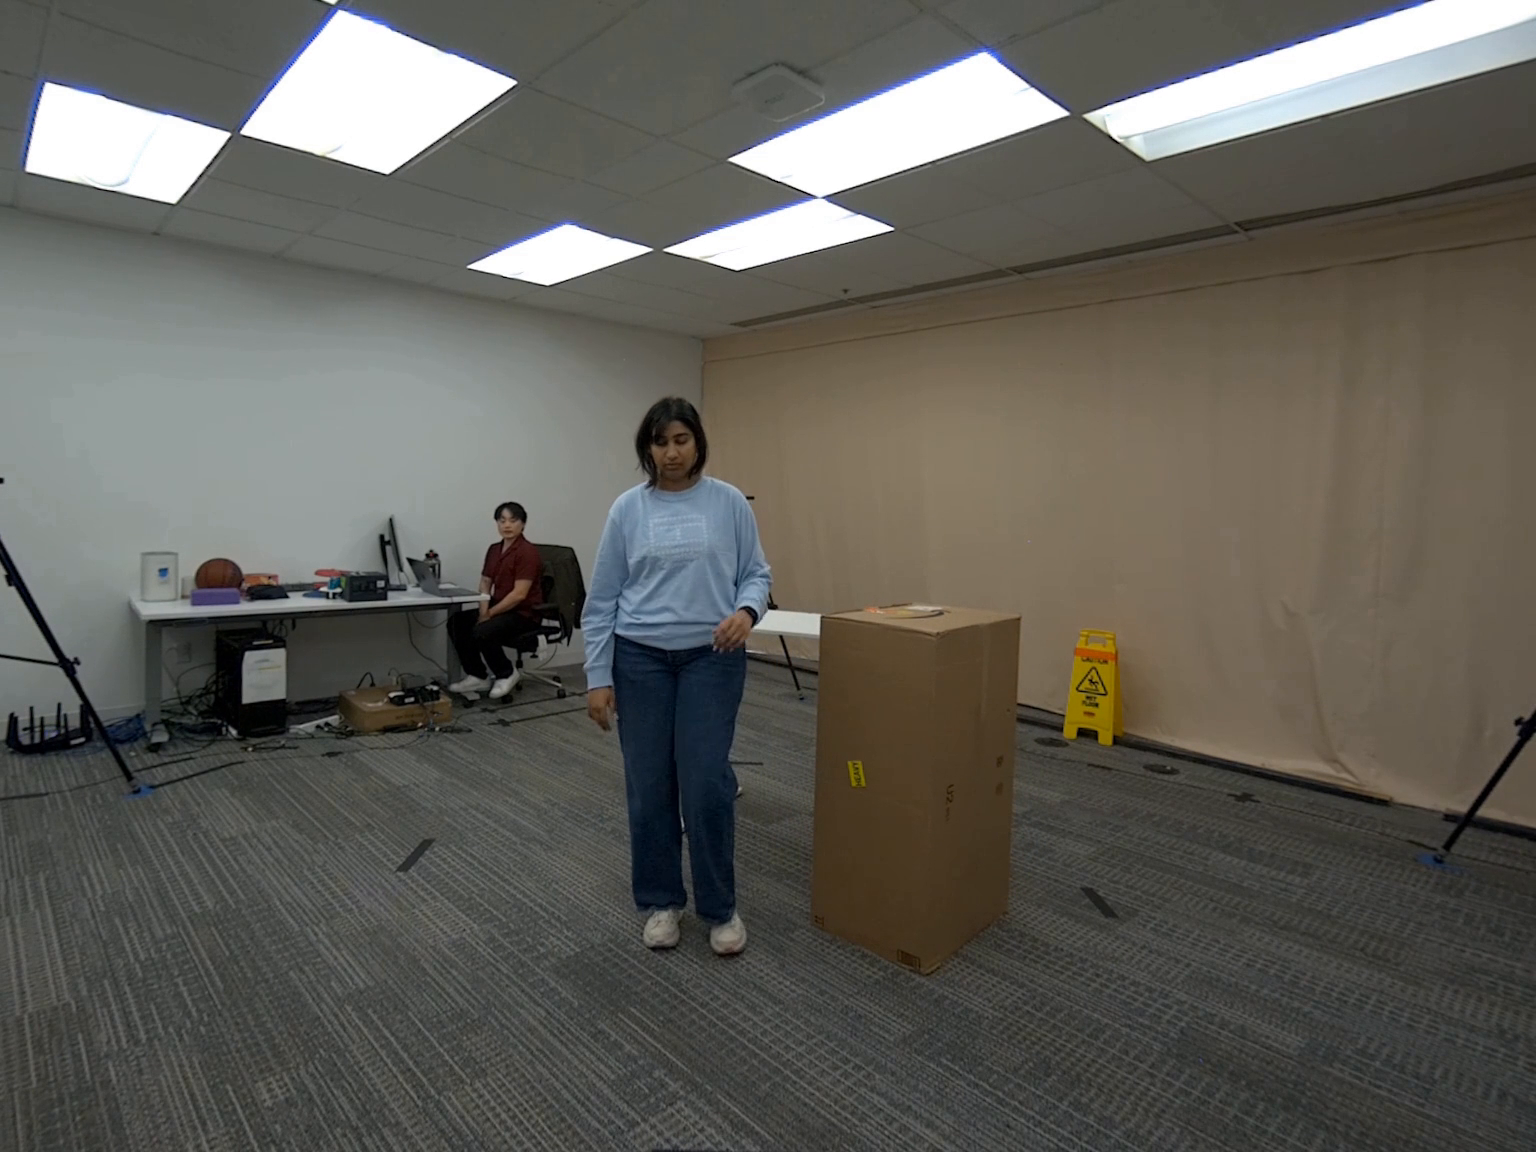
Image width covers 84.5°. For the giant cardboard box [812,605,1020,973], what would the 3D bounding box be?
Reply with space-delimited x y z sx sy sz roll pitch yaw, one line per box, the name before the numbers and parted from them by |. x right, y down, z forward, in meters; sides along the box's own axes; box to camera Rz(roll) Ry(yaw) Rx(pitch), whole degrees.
giant cardboard box | 0.489 0.639 2.801 0.437 1.023 0.564 5 5 41
